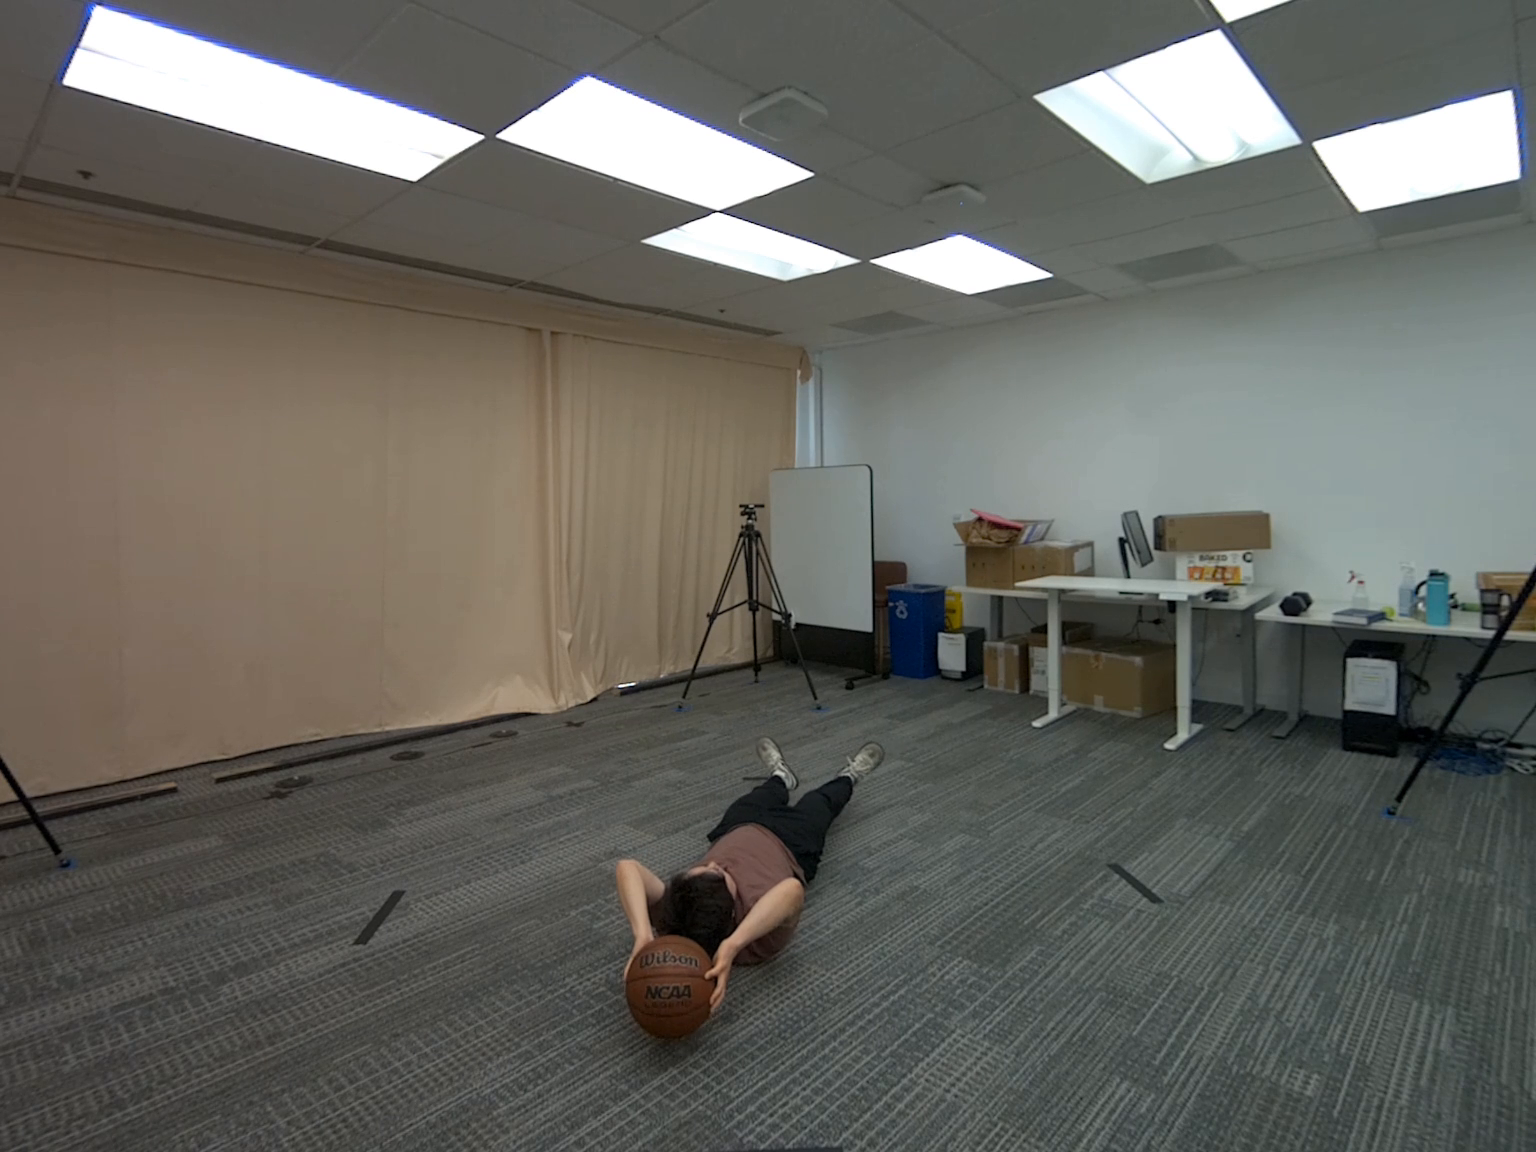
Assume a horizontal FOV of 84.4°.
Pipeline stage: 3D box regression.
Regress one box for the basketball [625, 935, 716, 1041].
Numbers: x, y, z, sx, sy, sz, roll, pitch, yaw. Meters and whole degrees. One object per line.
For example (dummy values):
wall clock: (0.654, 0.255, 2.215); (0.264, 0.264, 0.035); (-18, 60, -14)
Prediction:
basketball: (-0.249, 1.046, 2.162); (0.235, 0.235, 0.237); (3, 5, -2)
